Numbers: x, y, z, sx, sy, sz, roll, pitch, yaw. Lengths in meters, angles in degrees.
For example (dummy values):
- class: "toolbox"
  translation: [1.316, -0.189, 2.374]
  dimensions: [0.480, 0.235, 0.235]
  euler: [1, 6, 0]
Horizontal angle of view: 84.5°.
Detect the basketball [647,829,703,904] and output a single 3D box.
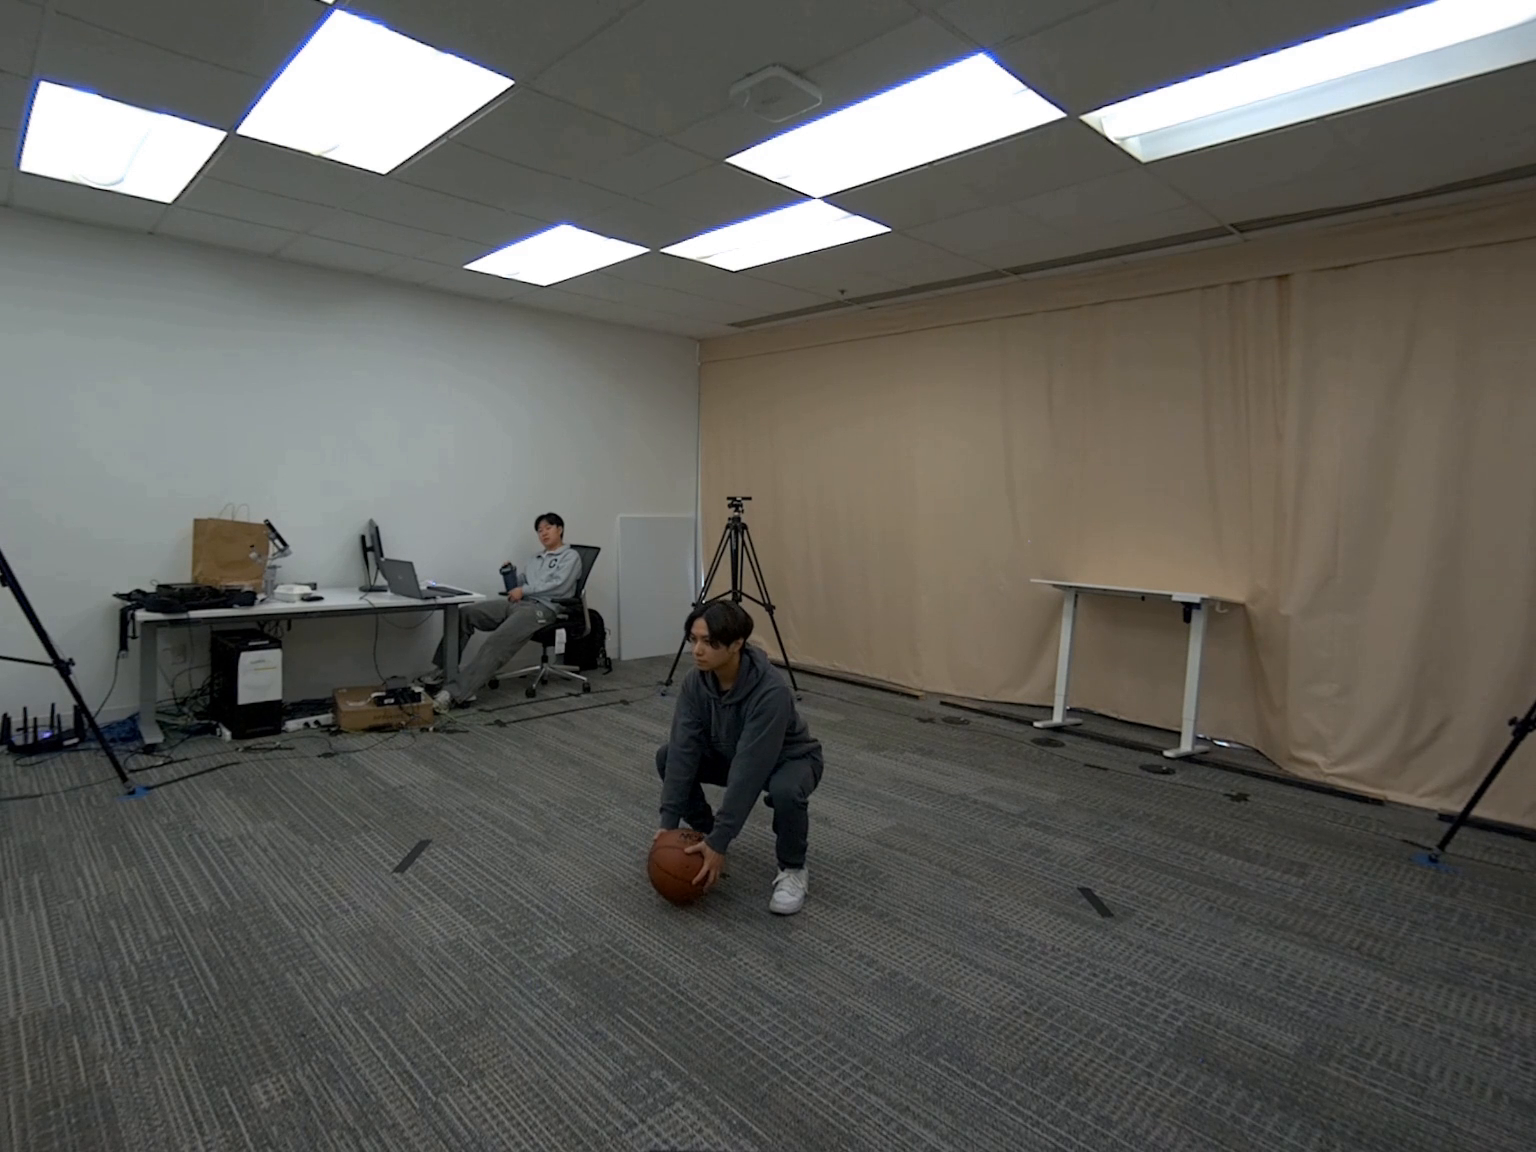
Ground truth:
- class: "basketball"
  translation: [-0.309, 0.969, 2.876]
  dimensions: [0.236, 0.235, 0.237]
  euler: [1, 4, -1]
